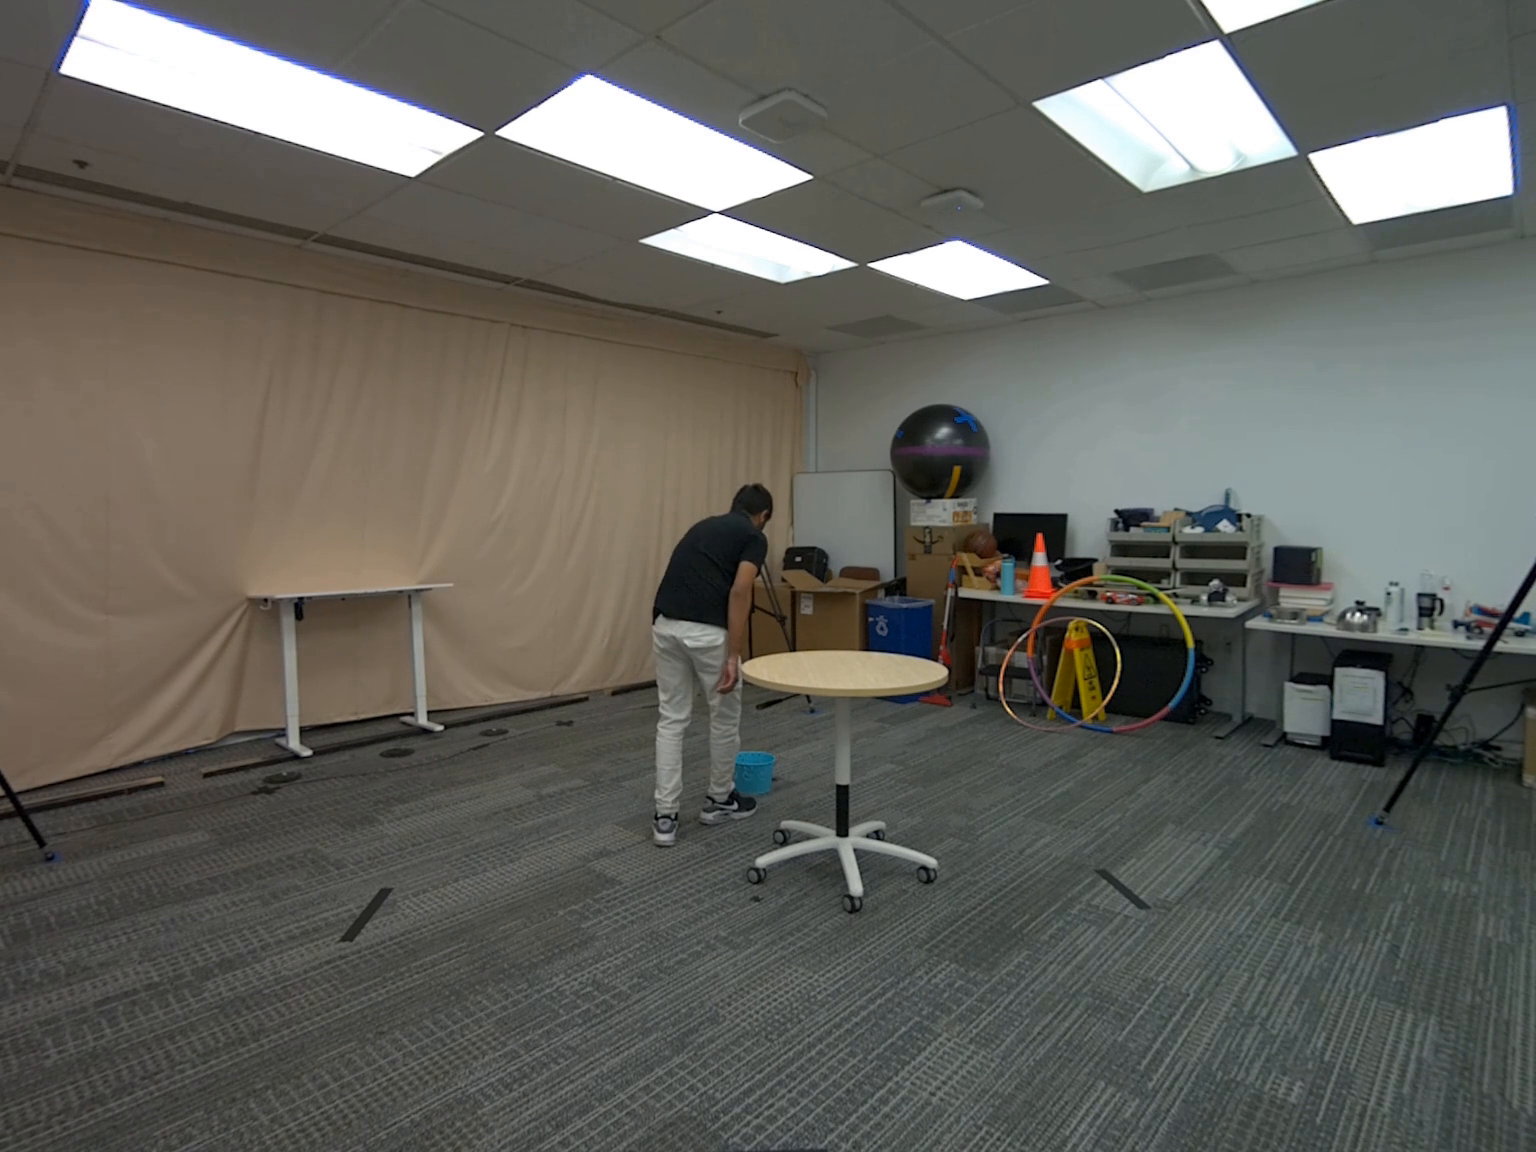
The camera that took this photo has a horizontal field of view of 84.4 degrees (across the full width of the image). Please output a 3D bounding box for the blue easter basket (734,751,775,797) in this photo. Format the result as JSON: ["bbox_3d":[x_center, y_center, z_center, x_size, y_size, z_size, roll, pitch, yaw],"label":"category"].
[{"bbox_3d":[-0.073,0.971,4.171,0.243,0.155,0.244,0,4,-2],"label":"blue easter basket"}]
